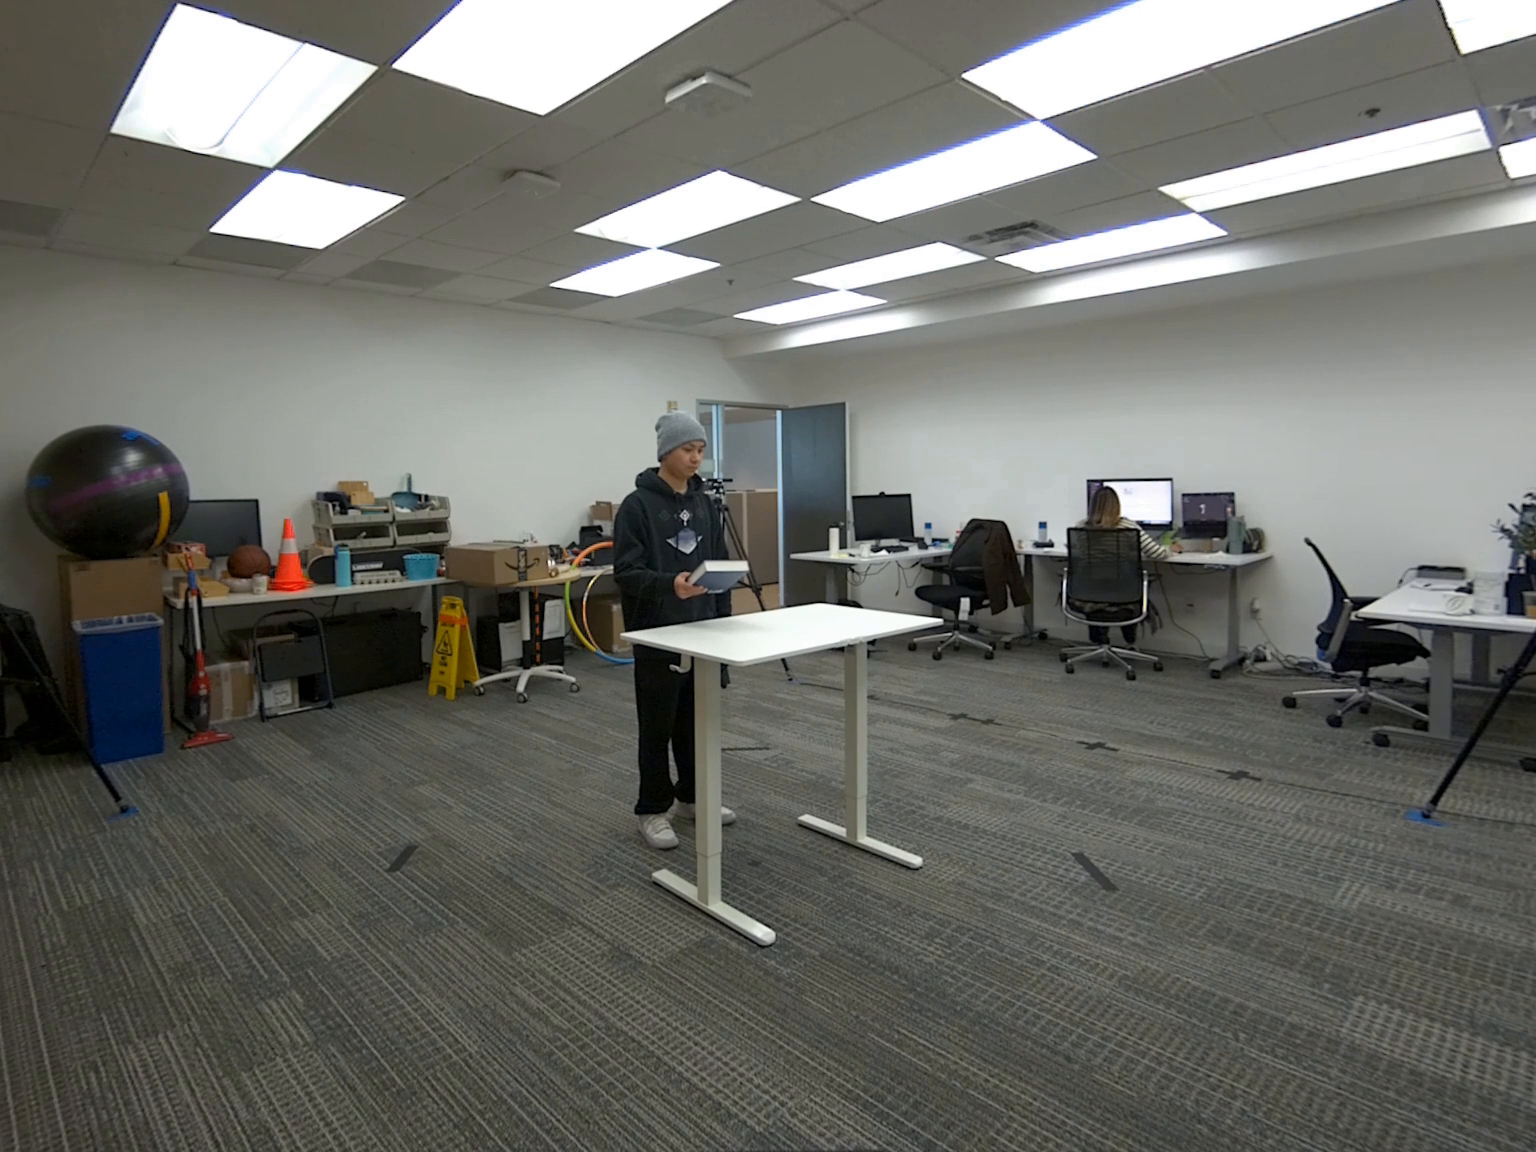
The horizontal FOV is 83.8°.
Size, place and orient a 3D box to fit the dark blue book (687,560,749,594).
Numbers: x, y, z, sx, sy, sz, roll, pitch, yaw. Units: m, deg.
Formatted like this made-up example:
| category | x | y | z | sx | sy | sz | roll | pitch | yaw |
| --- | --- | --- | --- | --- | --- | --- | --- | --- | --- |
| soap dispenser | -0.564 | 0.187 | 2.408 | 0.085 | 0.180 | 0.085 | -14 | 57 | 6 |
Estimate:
| category | x | y | z | sx | sy | sz | roll | pitch | yaw |
| --- | --- | --- | --- | --- | --- | --- | --- | --- | --- |
| dark blue book | -0.193 | 0.005 | 2.964 | 0.160 | 0.046 | 0.246 | -1 | -18 | -27 |
